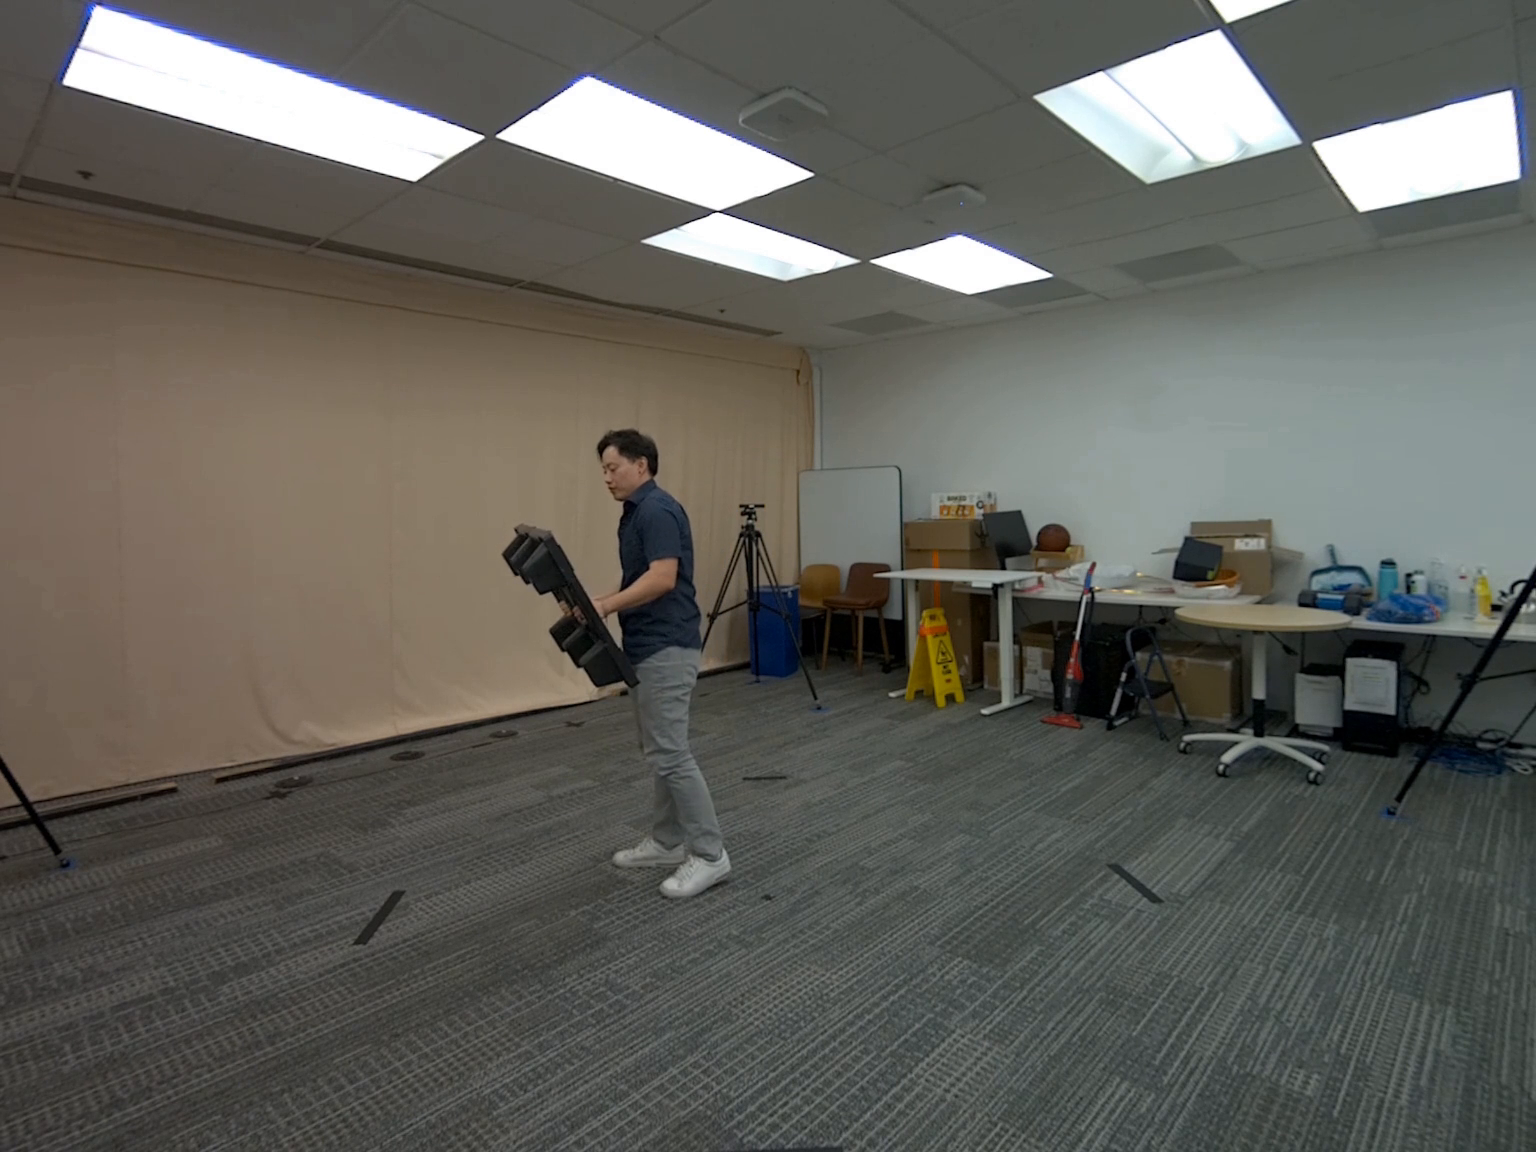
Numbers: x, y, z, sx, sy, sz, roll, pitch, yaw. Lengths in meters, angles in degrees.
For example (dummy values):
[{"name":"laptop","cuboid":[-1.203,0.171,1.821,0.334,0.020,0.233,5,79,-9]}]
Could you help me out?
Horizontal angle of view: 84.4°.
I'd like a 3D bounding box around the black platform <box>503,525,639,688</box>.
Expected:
[{"name":"black platform","cuboid":[-0.766,0.103,3.110,0.142,0.597,0.824,-32,15,-17]}]
